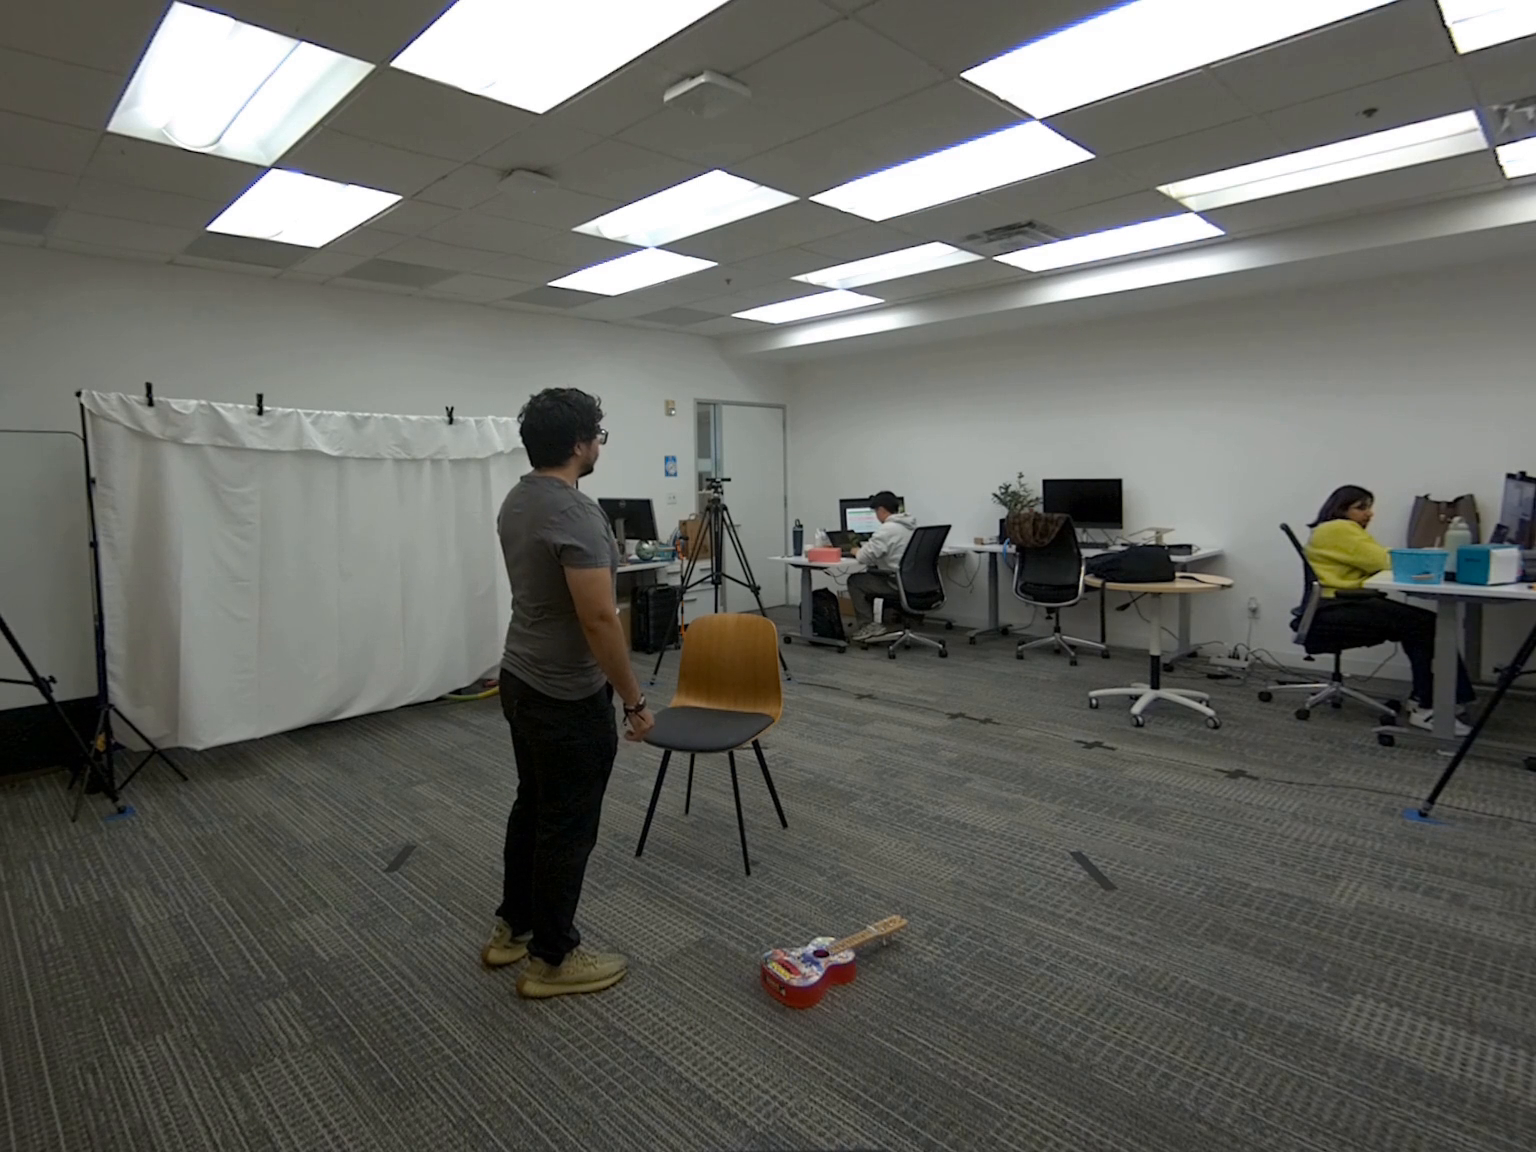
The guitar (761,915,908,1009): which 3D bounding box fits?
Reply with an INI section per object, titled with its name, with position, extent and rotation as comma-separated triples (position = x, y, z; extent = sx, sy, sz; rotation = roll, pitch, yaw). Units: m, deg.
[guitar]
position = 0.233, 1.089, 2.413
extent = 0.487, 0.070, 0.198
rotation = -5, 6, -26
